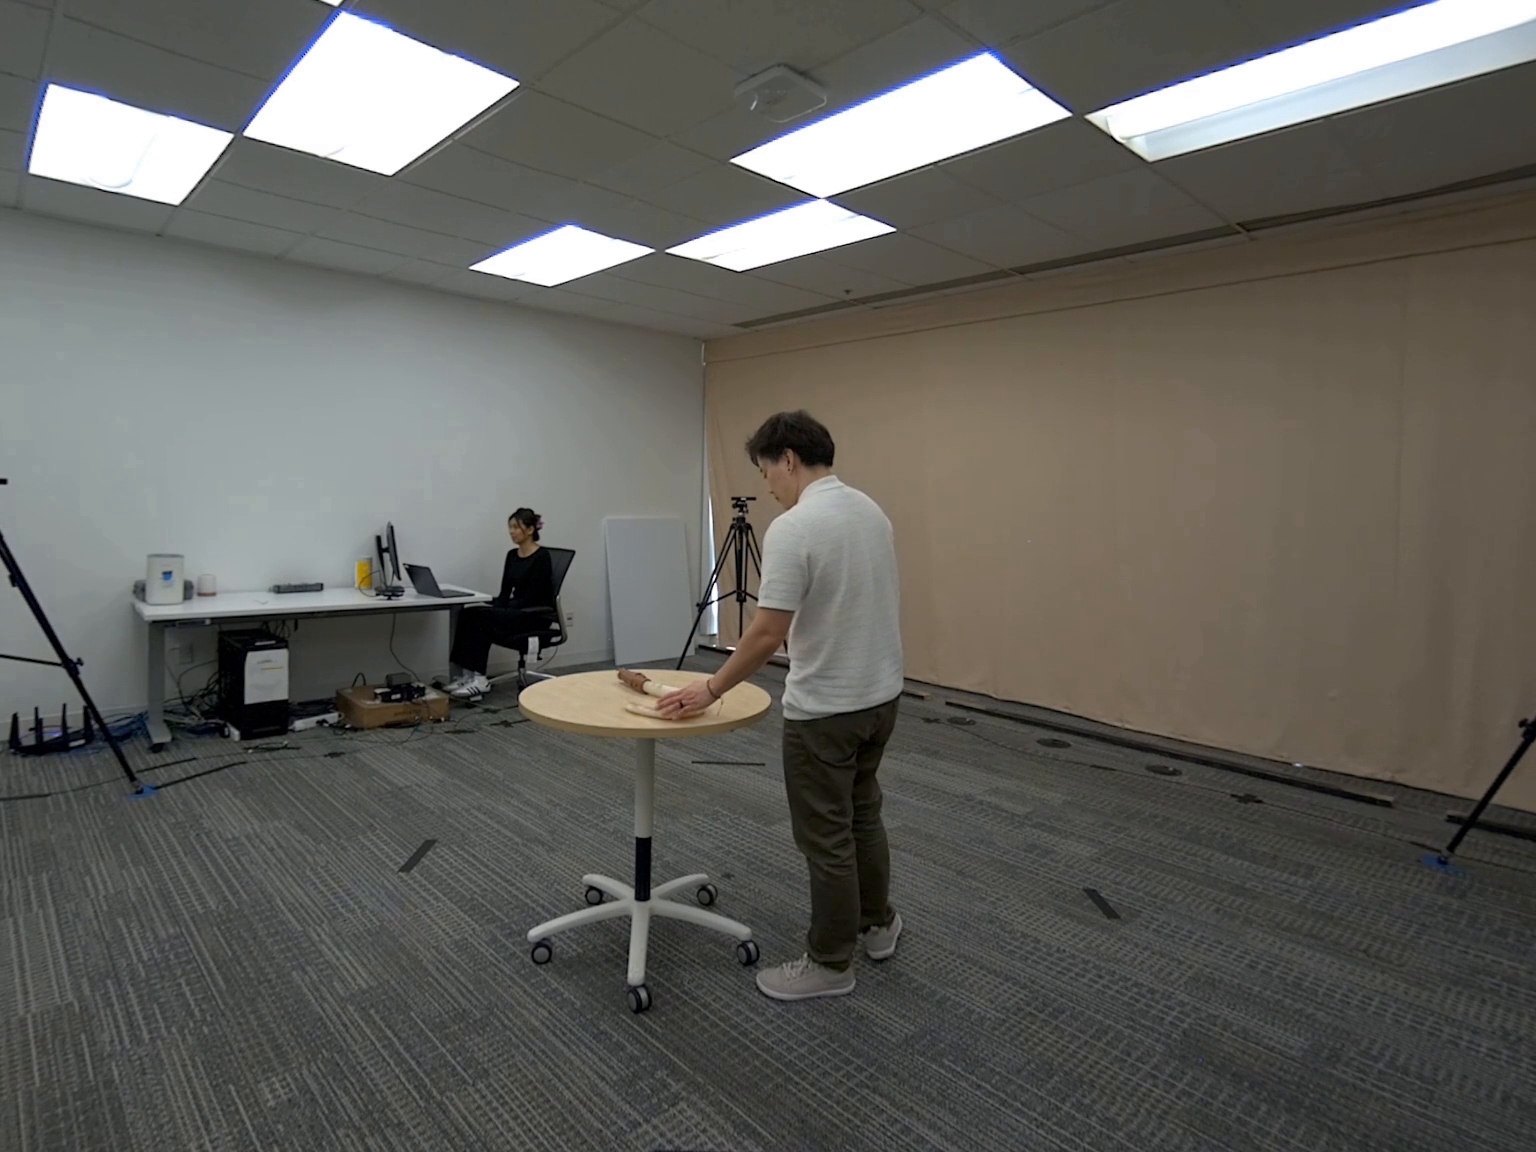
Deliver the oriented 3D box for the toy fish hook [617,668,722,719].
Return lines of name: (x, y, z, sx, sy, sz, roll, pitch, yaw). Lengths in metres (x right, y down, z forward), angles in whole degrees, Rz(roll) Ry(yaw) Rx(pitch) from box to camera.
toy fish hook: (-0.389, 0.350, 2.524, 0.219, 0.048, 0.519, -1, 6, -36)
